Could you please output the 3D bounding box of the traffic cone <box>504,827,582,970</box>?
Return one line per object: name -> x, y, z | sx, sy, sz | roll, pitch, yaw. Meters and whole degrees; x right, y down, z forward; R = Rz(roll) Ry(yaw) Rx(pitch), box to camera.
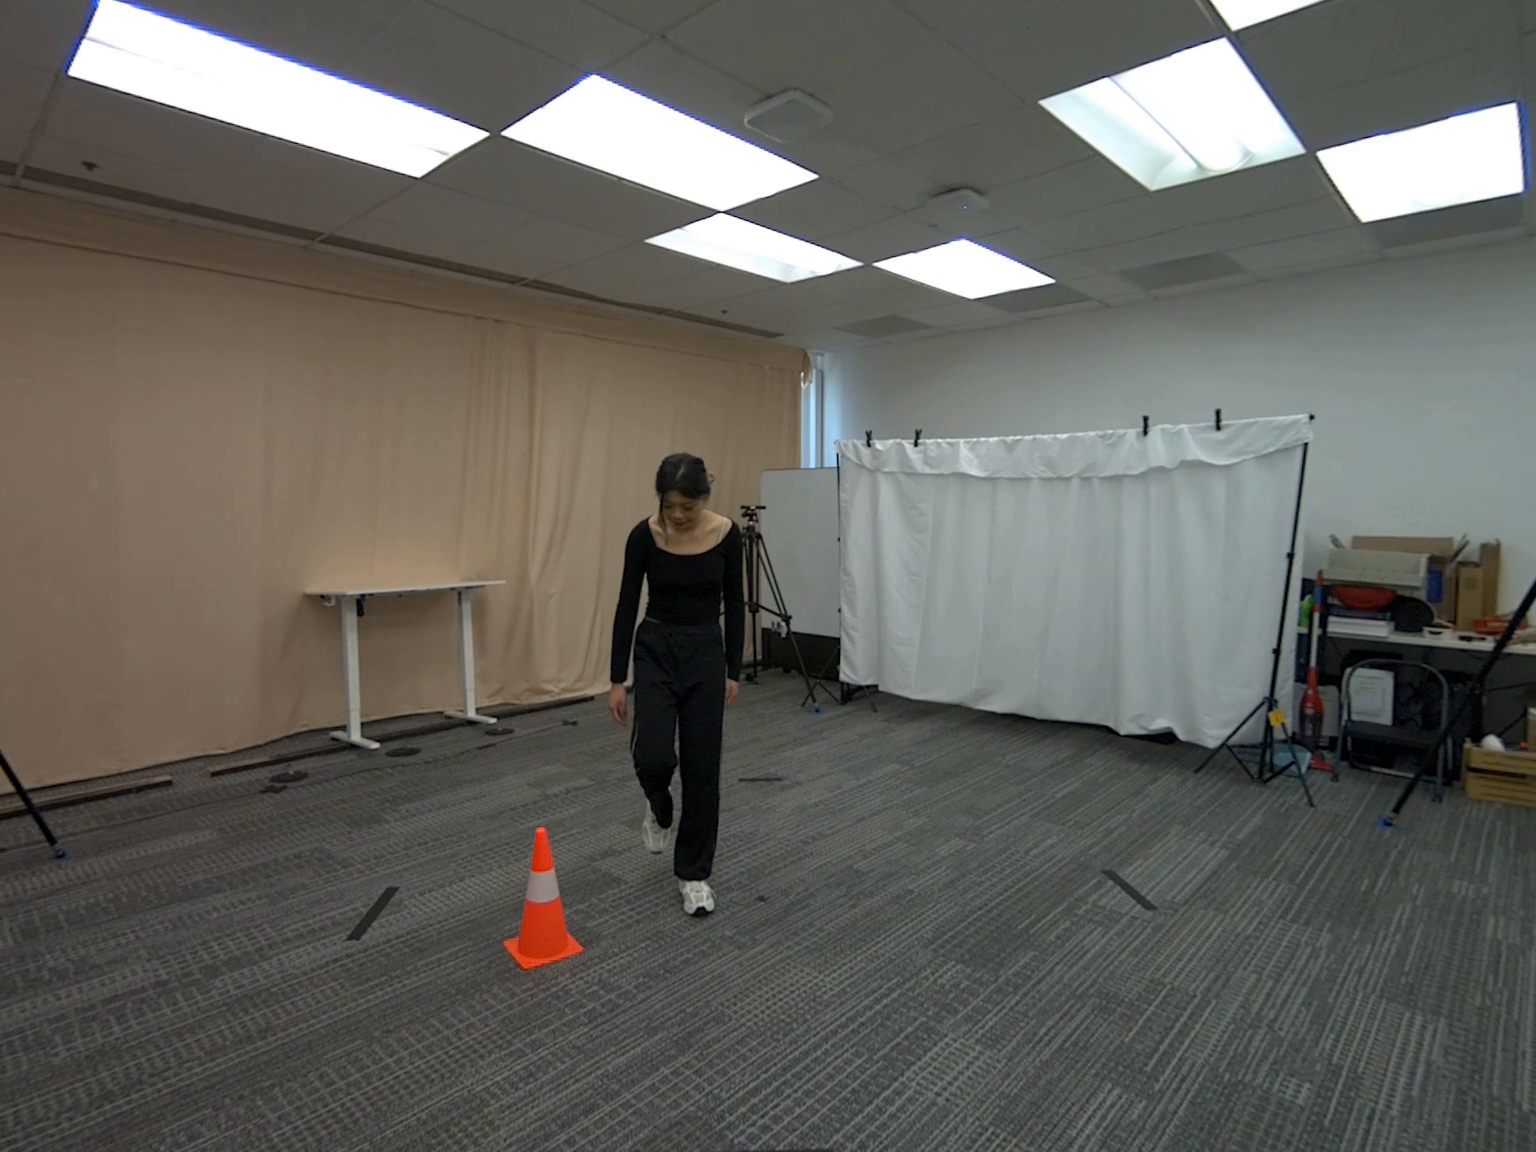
traffic cone -> -0.721, 0.993, 2.655 | 0.199, 0.383, 0.210 | -4, 4, -34
